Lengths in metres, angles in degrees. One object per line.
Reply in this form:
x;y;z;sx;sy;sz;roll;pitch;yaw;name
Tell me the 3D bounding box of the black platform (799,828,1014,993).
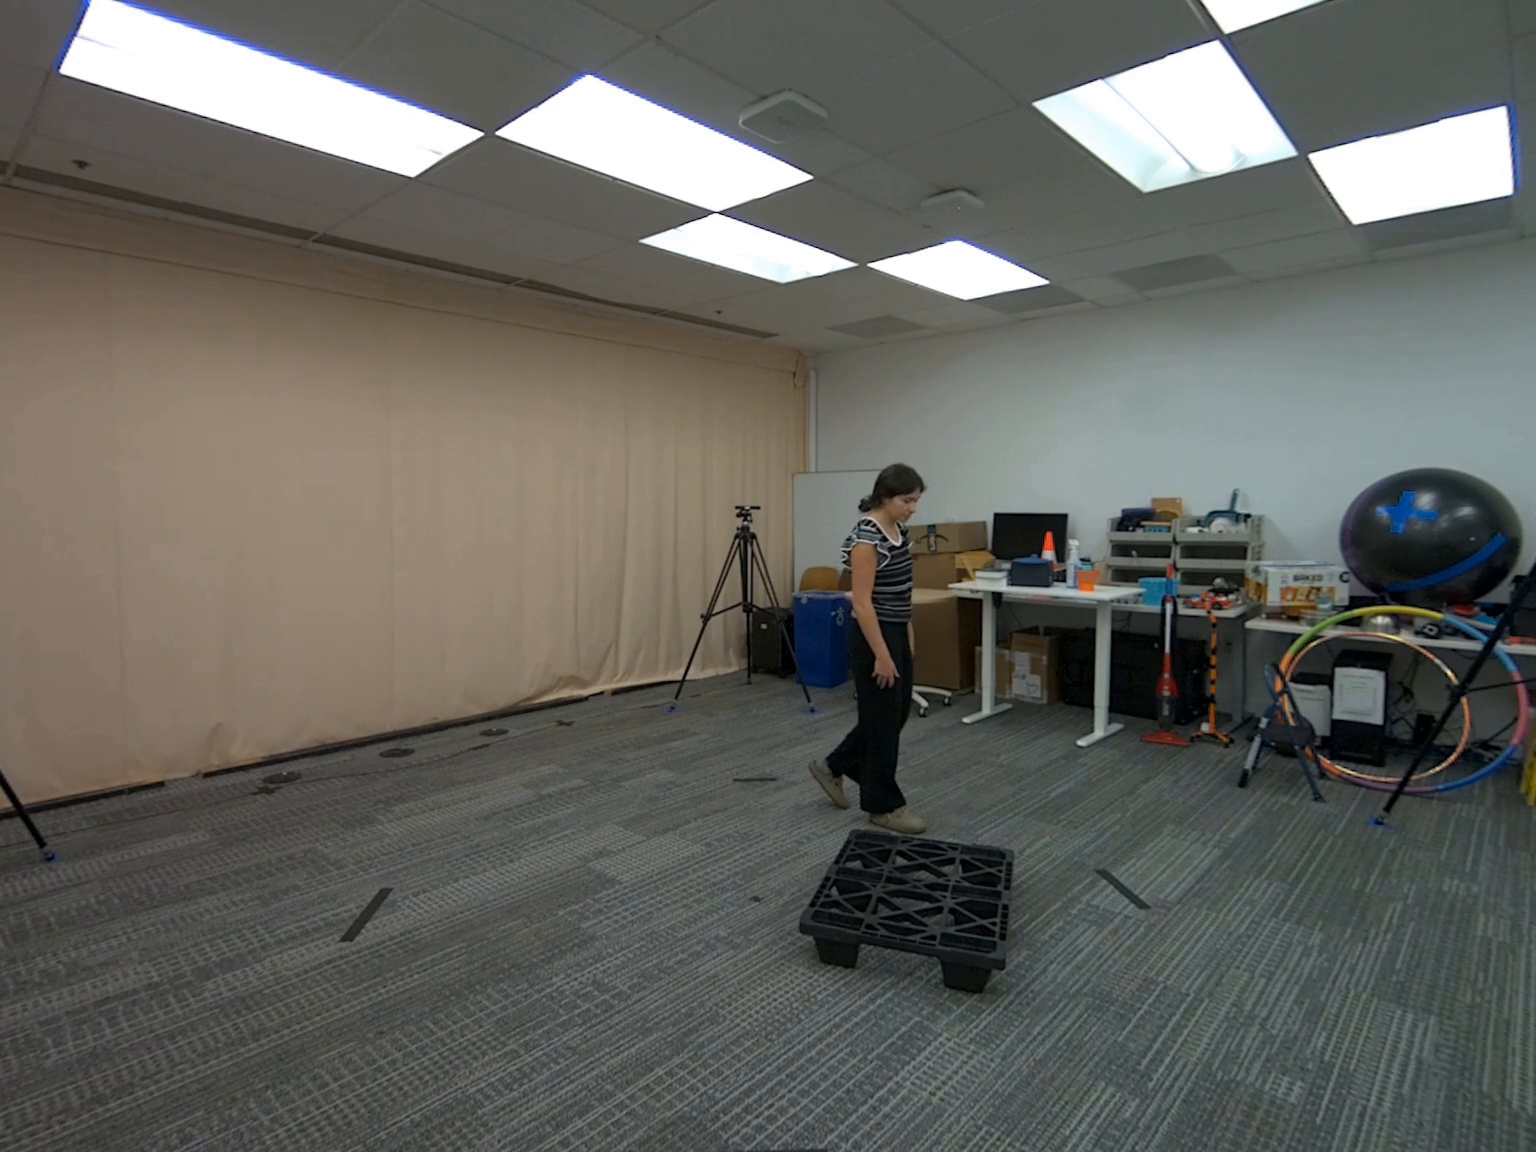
0.492;1.089;2.812;0.618;0.143;0.790;1;5;19;black platform
